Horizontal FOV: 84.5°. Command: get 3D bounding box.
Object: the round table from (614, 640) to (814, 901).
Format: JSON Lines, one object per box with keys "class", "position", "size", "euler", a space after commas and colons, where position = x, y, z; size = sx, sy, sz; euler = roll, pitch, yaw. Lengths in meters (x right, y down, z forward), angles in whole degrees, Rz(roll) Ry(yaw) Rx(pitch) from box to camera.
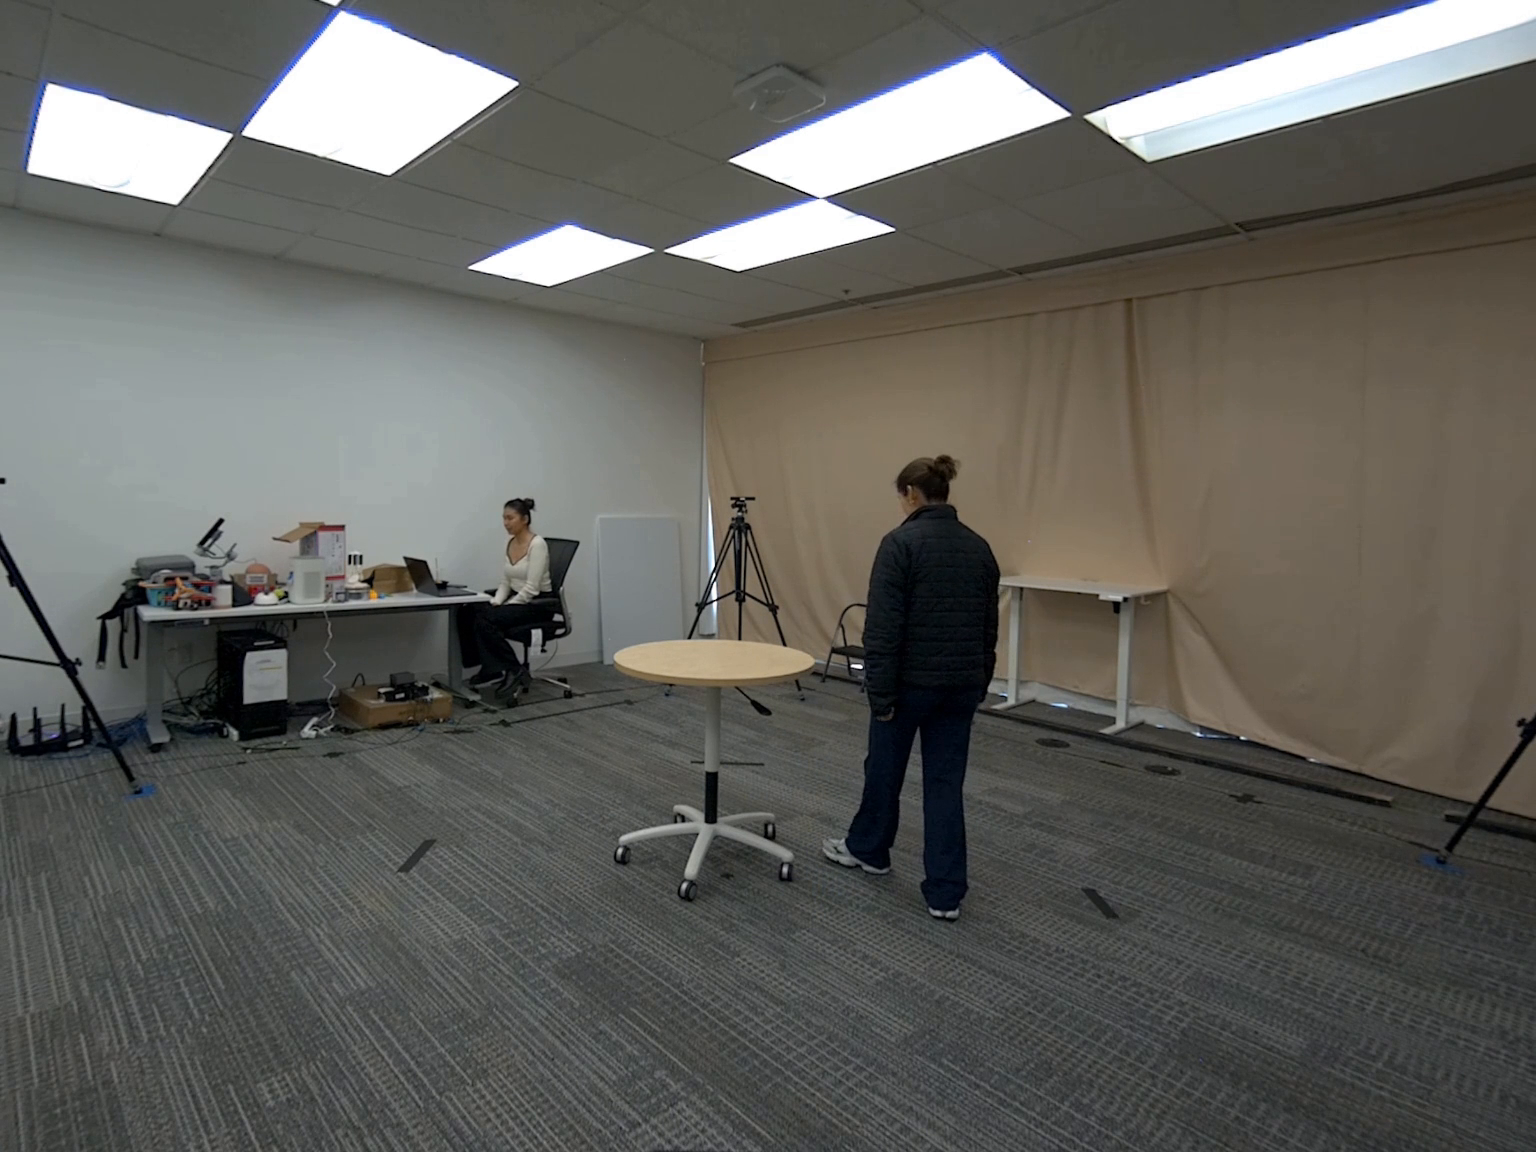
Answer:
{"class": "round table", "position": [-0.207, 0.696, 3.239], "size": [0.784, 0.784, 0.788], "euler": [1, 4, -1]}
